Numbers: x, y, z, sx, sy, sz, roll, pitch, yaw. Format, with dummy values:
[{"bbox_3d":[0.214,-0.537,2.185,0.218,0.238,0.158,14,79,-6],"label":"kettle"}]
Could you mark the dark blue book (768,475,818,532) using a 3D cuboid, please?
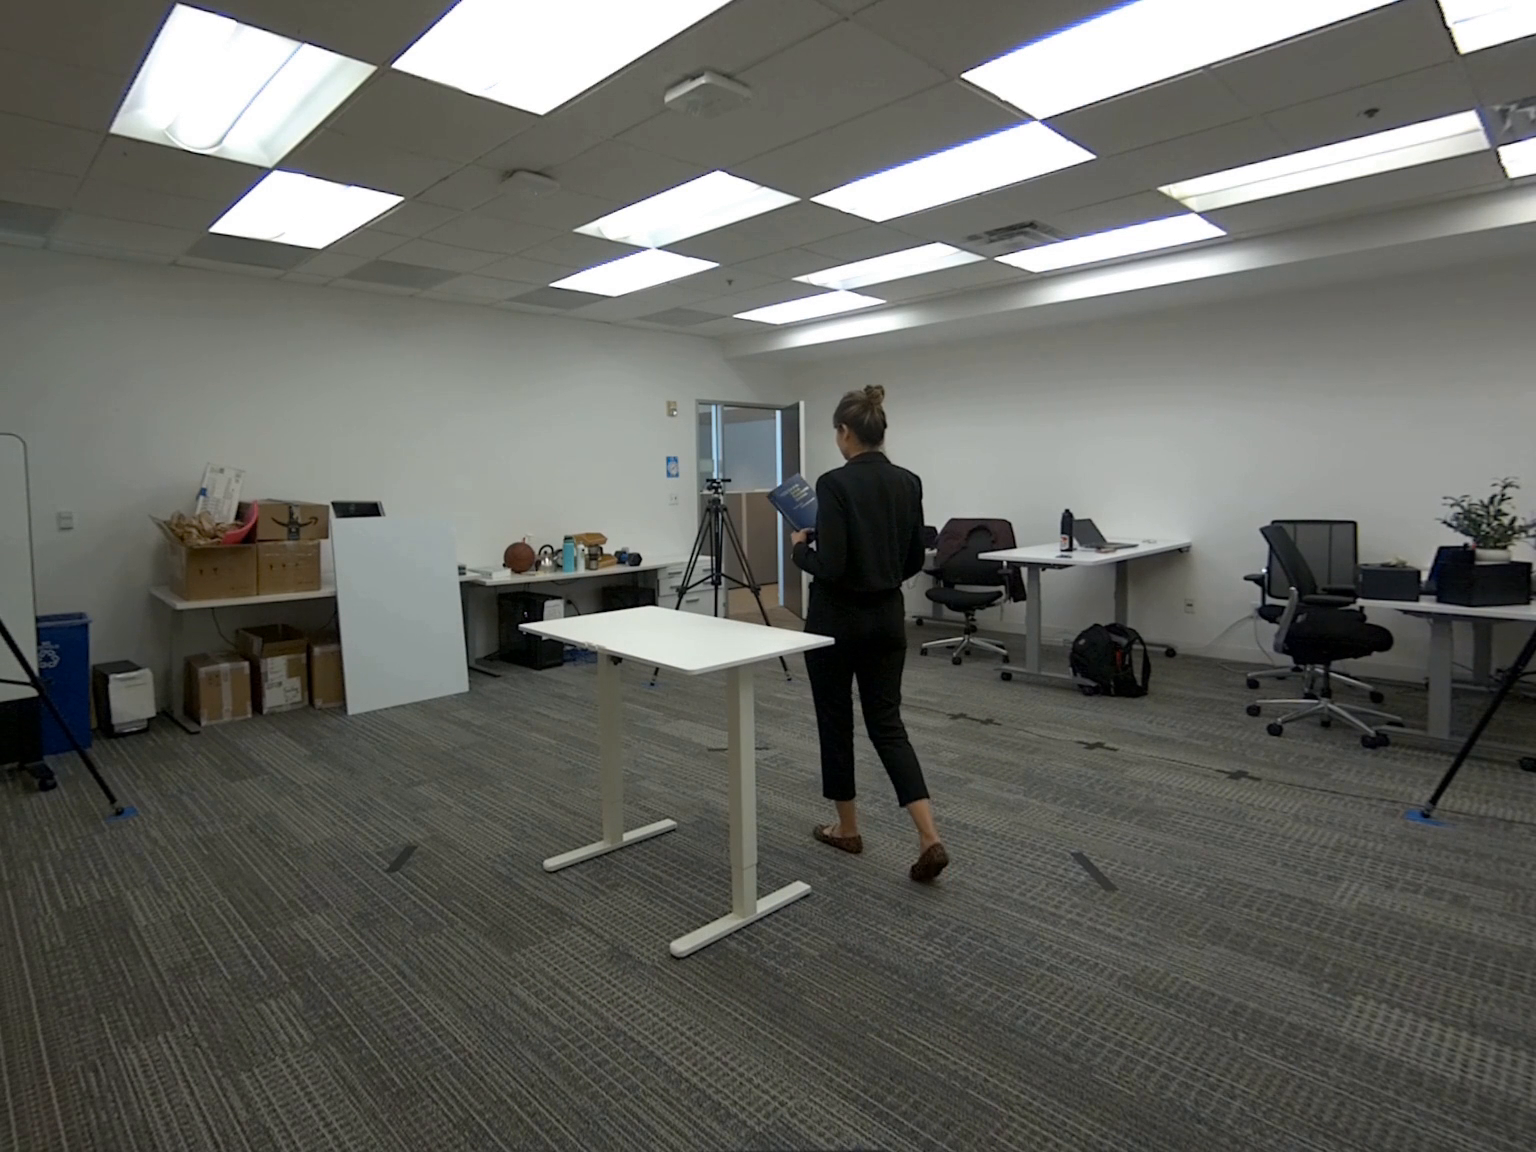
[{"bbox_3d":[0.135,-0.256,3.245,0.162,0.248,0.045,-36,-10,-34],"label":"dark blue book"}]
